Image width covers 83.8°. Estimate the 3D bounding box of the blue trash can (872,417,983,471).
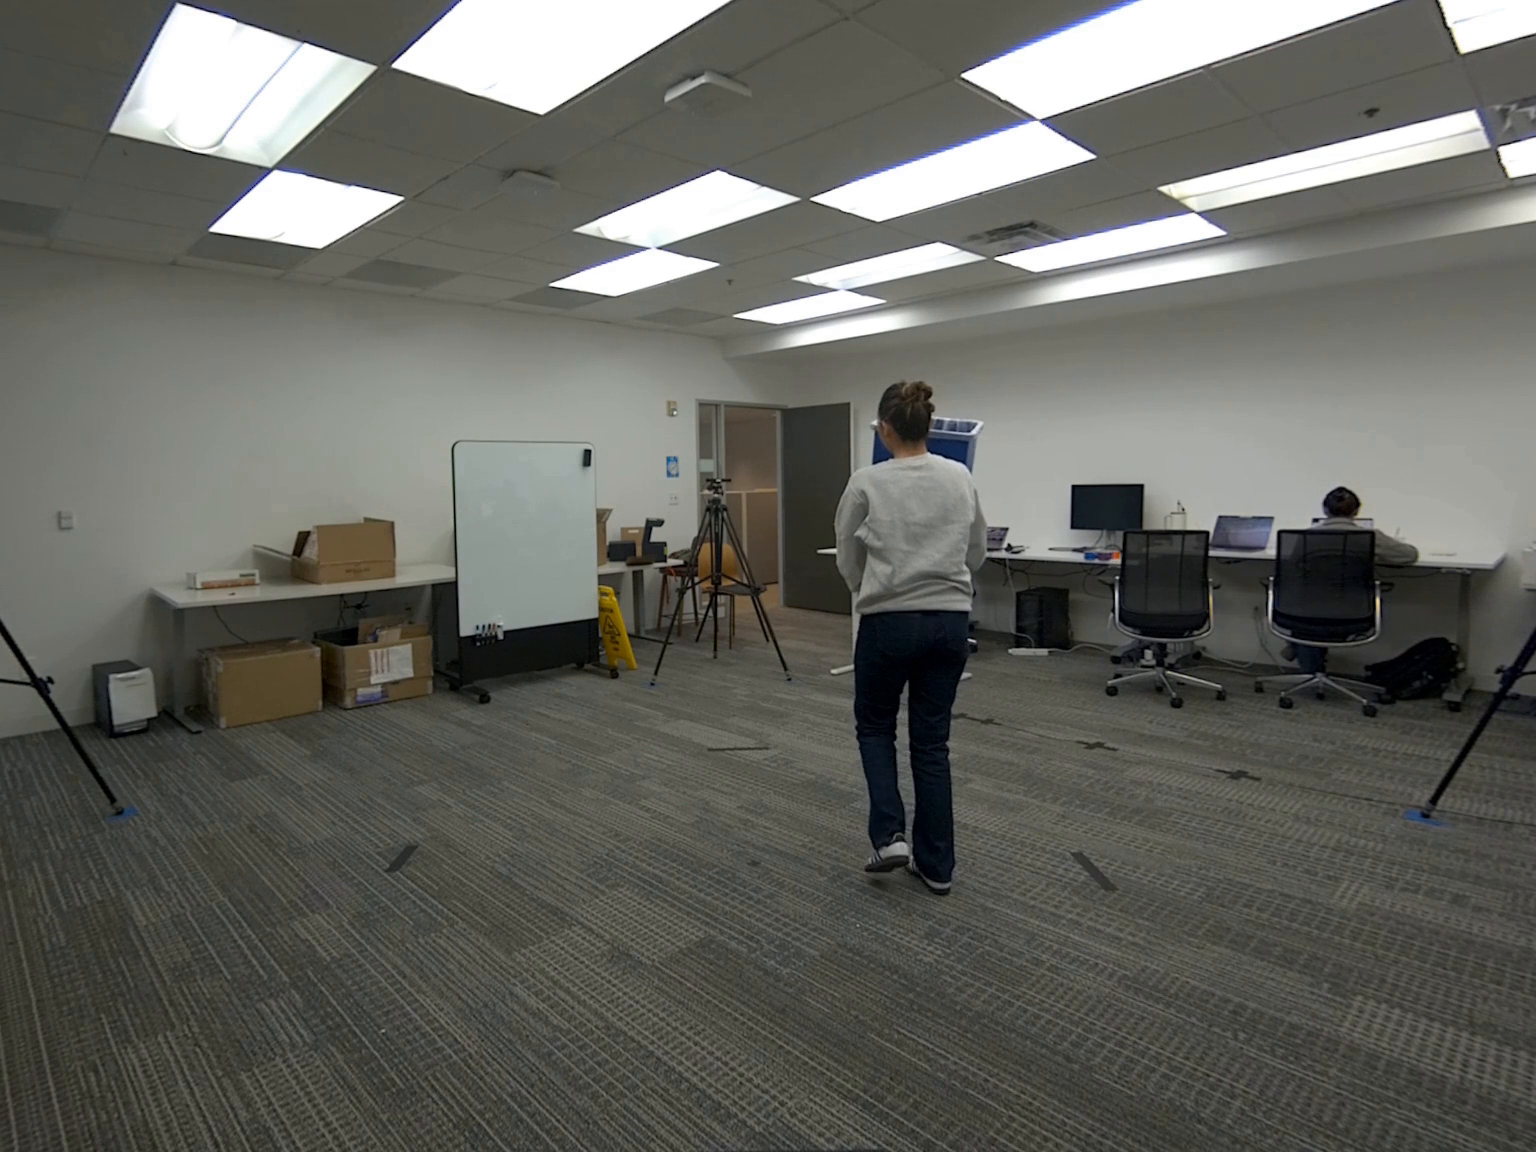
[{"bbox_3d":[0.581,-0.233,3.250,0.386,0.704,0.371,8,16,18],"label":"blue trash can"}]
